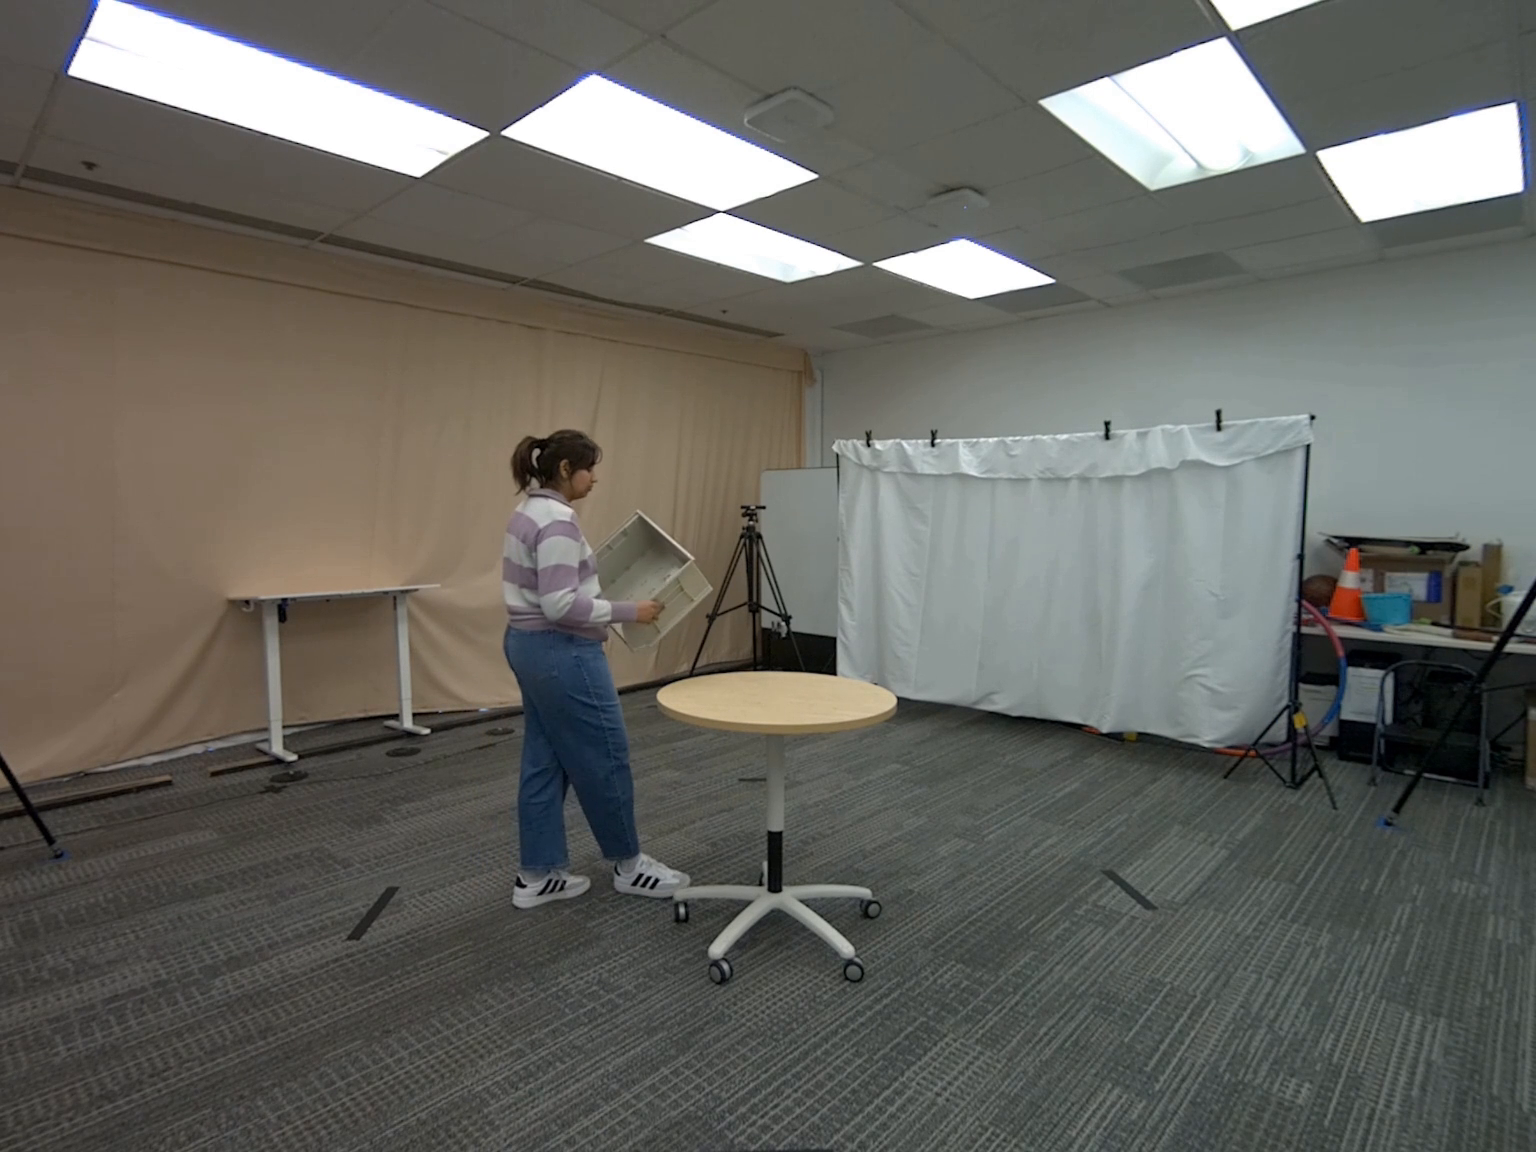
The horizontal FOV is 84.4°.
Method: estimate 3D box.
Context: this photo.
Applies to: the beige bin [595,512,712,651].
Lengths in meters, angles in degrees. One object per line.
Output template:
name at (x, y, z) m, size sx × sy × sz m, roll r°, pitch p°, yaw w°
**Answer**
beige bin at (-0.468, 0.020, 3.107) m, size 0.438 × 0.376 × 0.183 m, roll 39°, pitch -12°, yaw 44°
